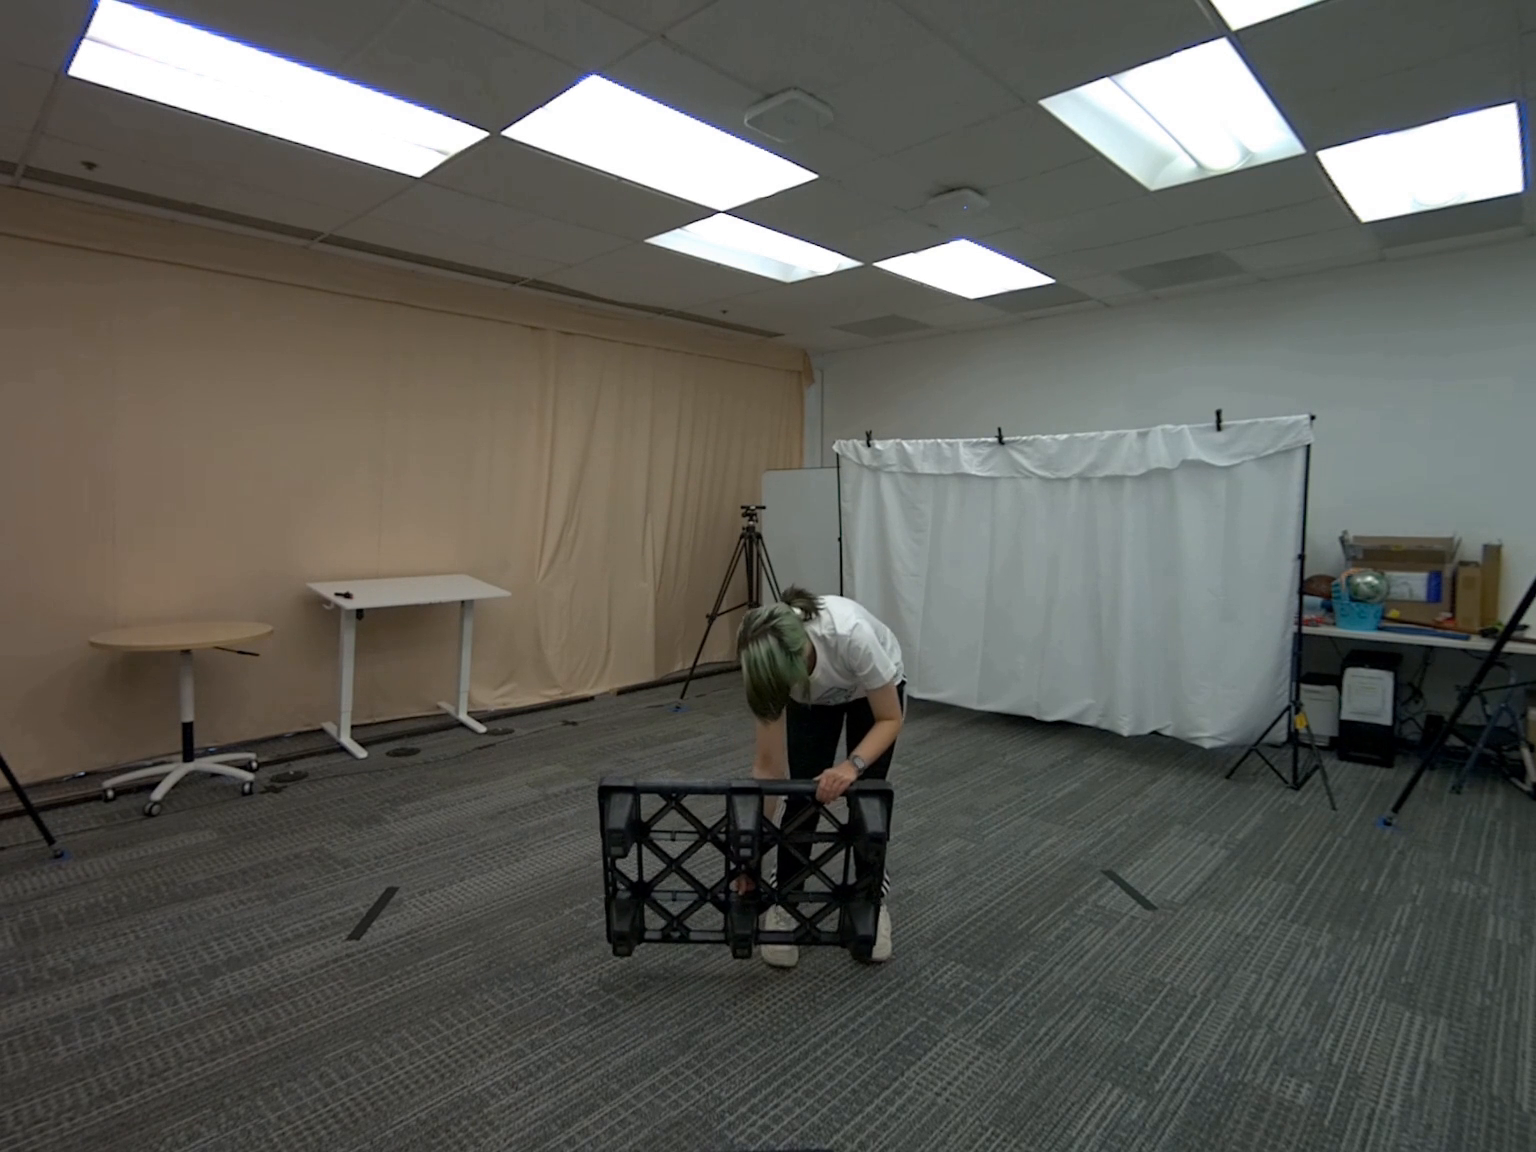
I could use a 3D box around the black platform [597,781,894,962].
[{"bbox_3d":[-0.074,0.848,2.343,0.806,0.597,0.145,1,22,0],"label":"black platform"}]
